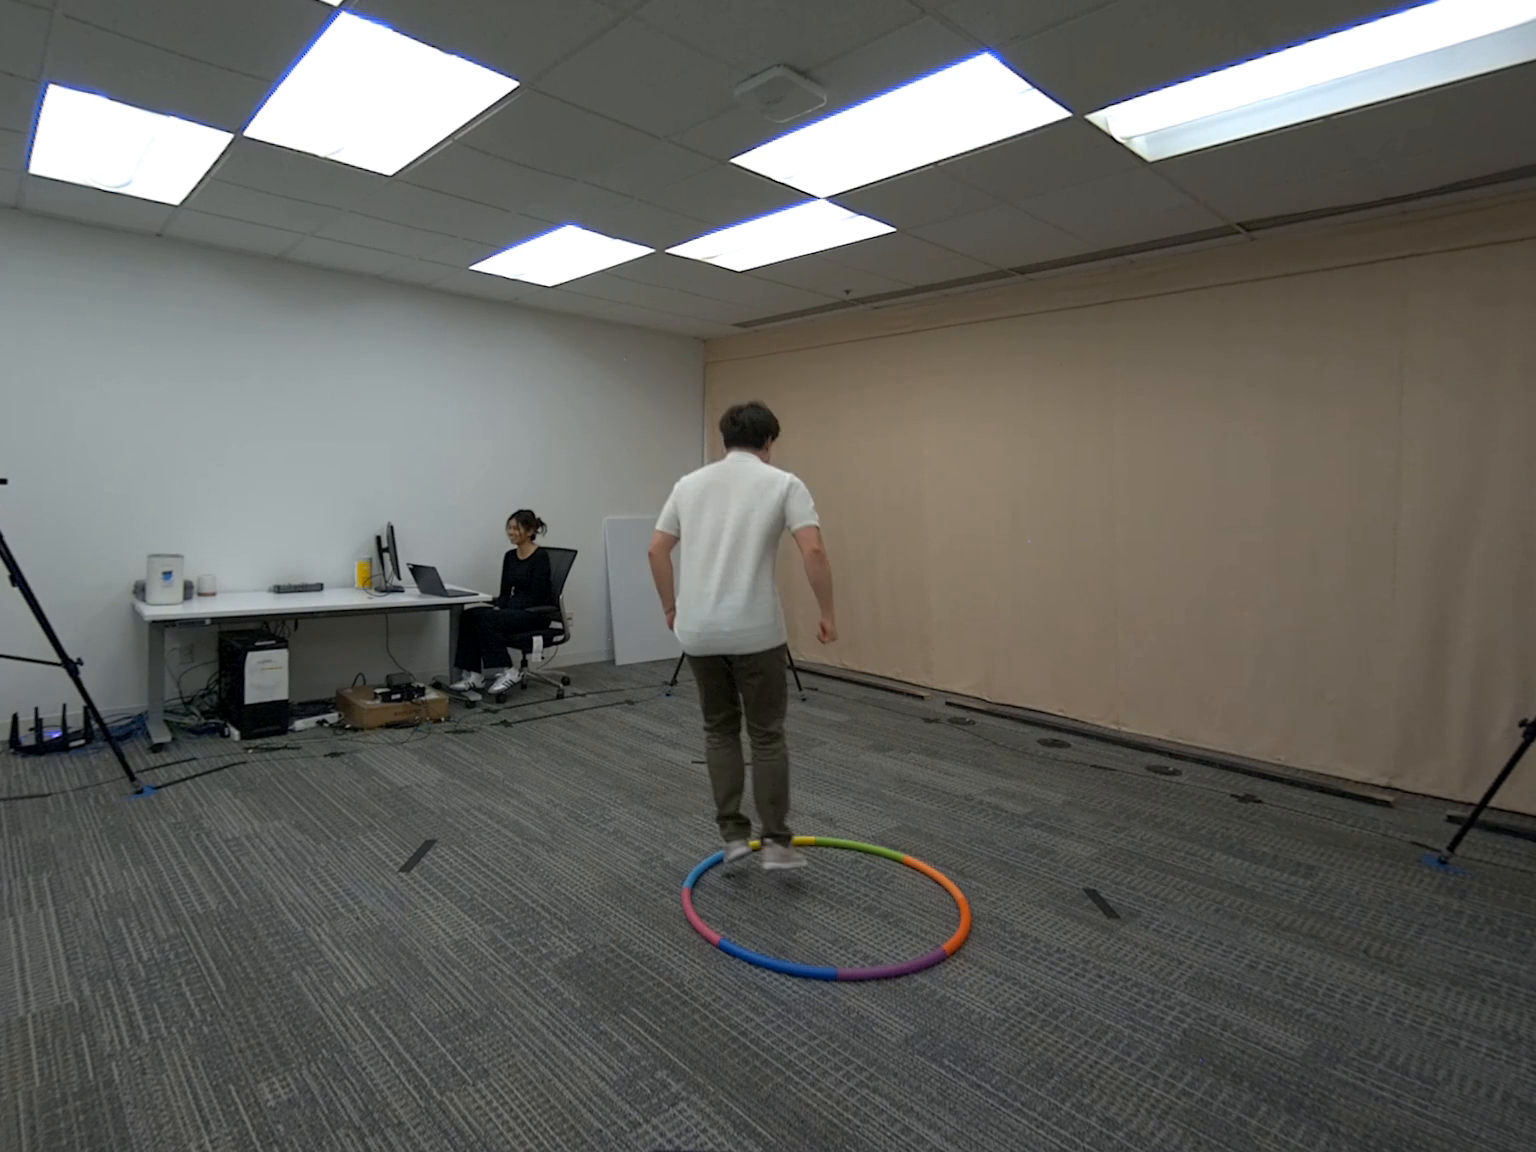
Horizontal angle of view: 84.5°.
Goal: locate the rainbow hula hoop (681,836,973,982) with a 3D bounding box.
[{"bbox_3d":[0.183,1.102,2.926,0.978,0.035,0.982,1,5,-1],"label":"rainbow hula hoop"}]
